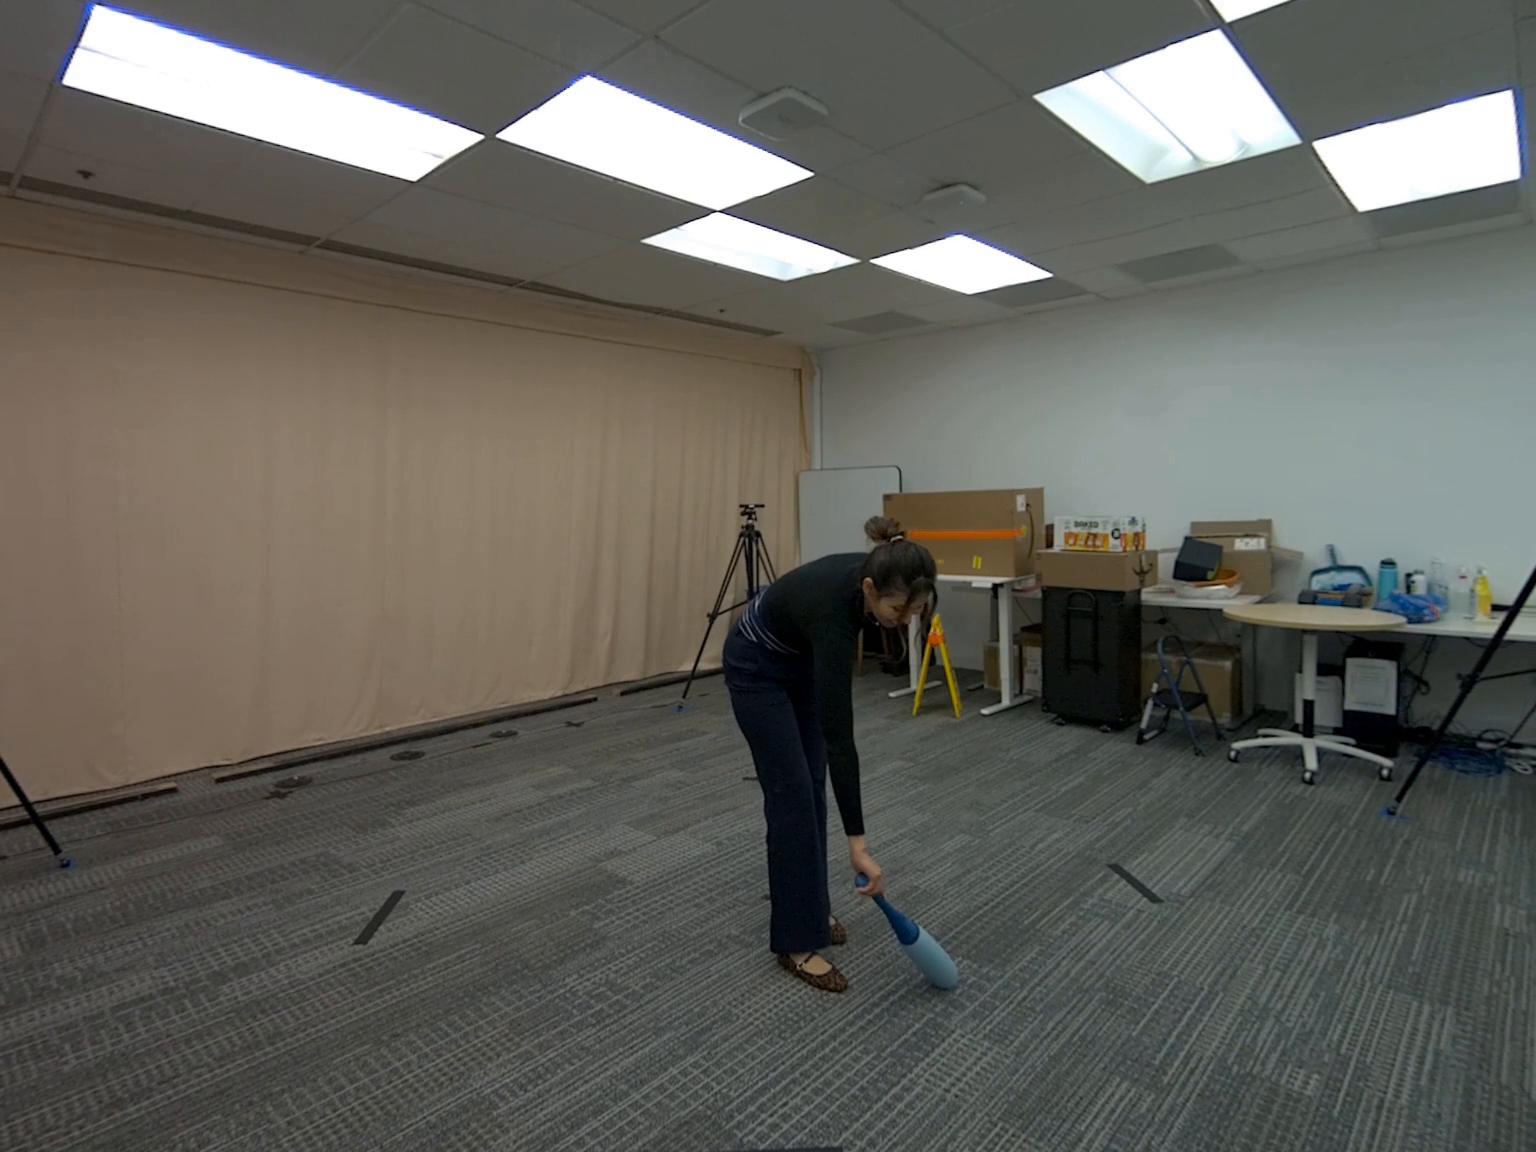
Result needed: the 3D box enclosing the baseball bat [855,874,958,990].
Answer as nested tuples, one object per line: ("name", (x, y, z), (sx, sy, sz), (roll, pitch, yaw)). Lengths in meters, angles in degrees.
("baseball bat", (0.383, 0.976, 2.302), (0.090, 0.528, 0.090), (-27, 30, 16))
